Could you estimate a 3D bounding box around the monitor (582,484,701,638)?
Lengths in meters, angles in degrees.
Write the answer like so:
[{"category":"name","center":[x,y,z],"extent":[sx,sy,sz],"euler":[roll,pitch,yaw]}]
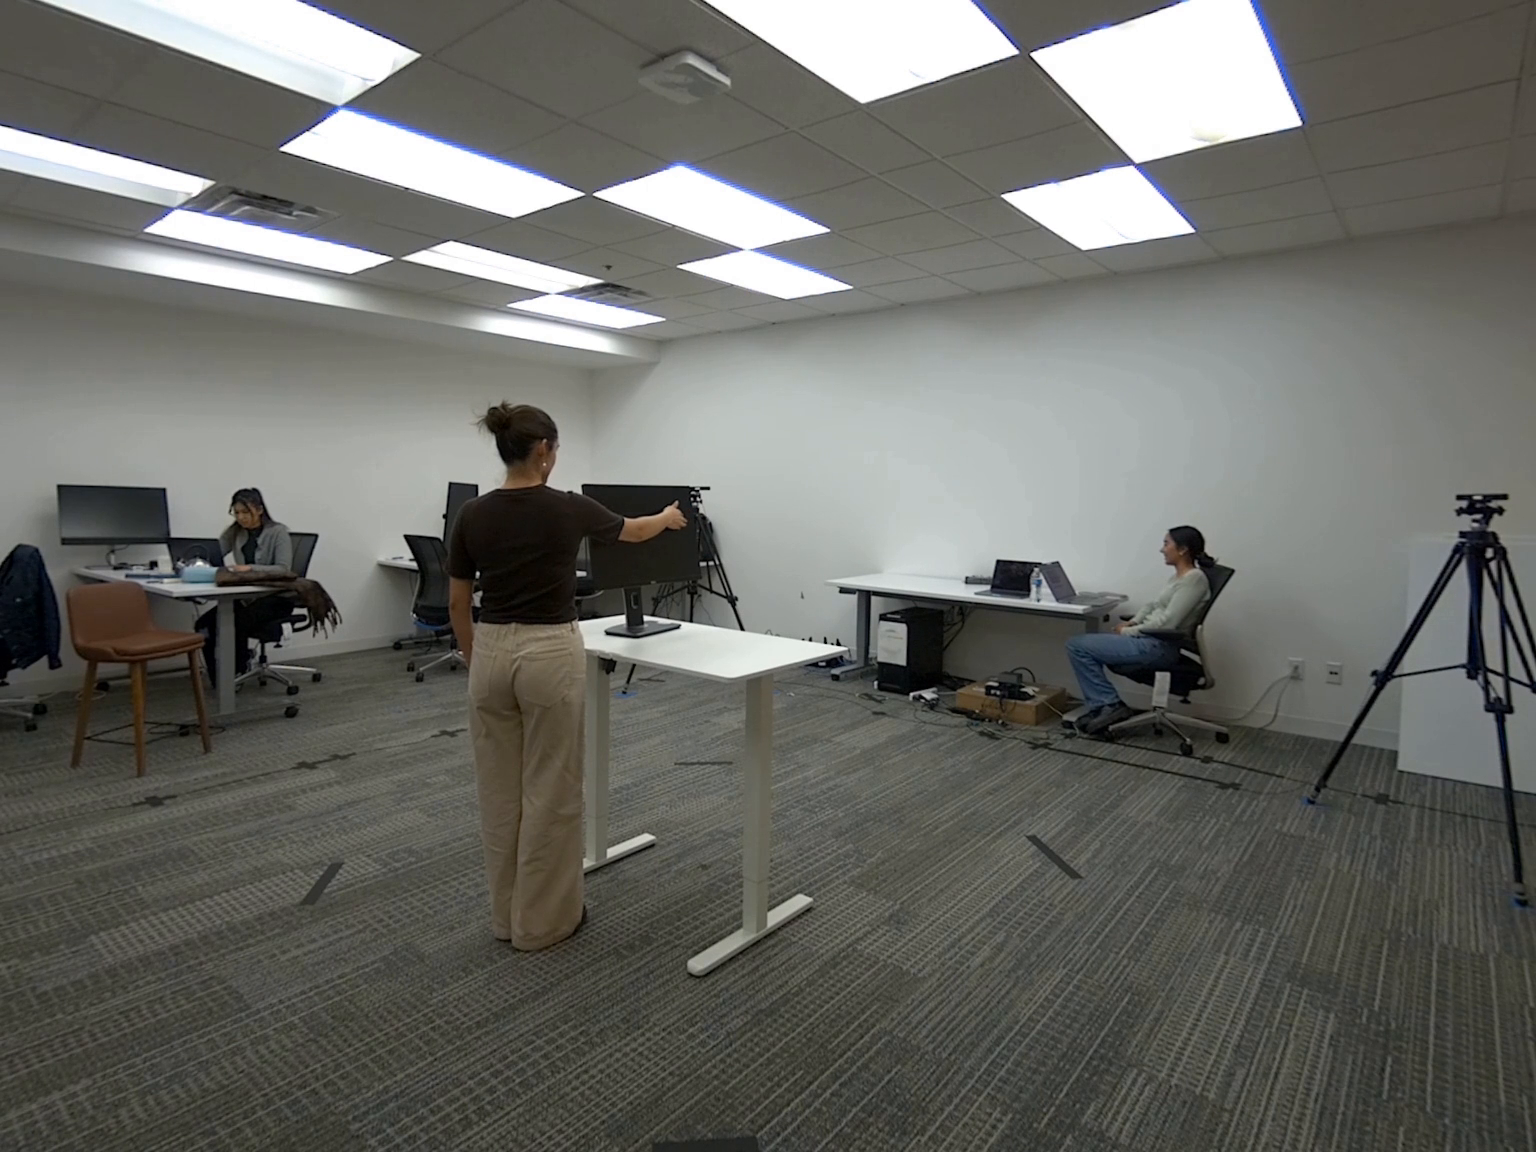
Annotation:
[{"category":"monitor","center":[-0.455,-0.058,2.986],"extent":[0.193,0.521,0.524],"euler":[3,4,35]}]
